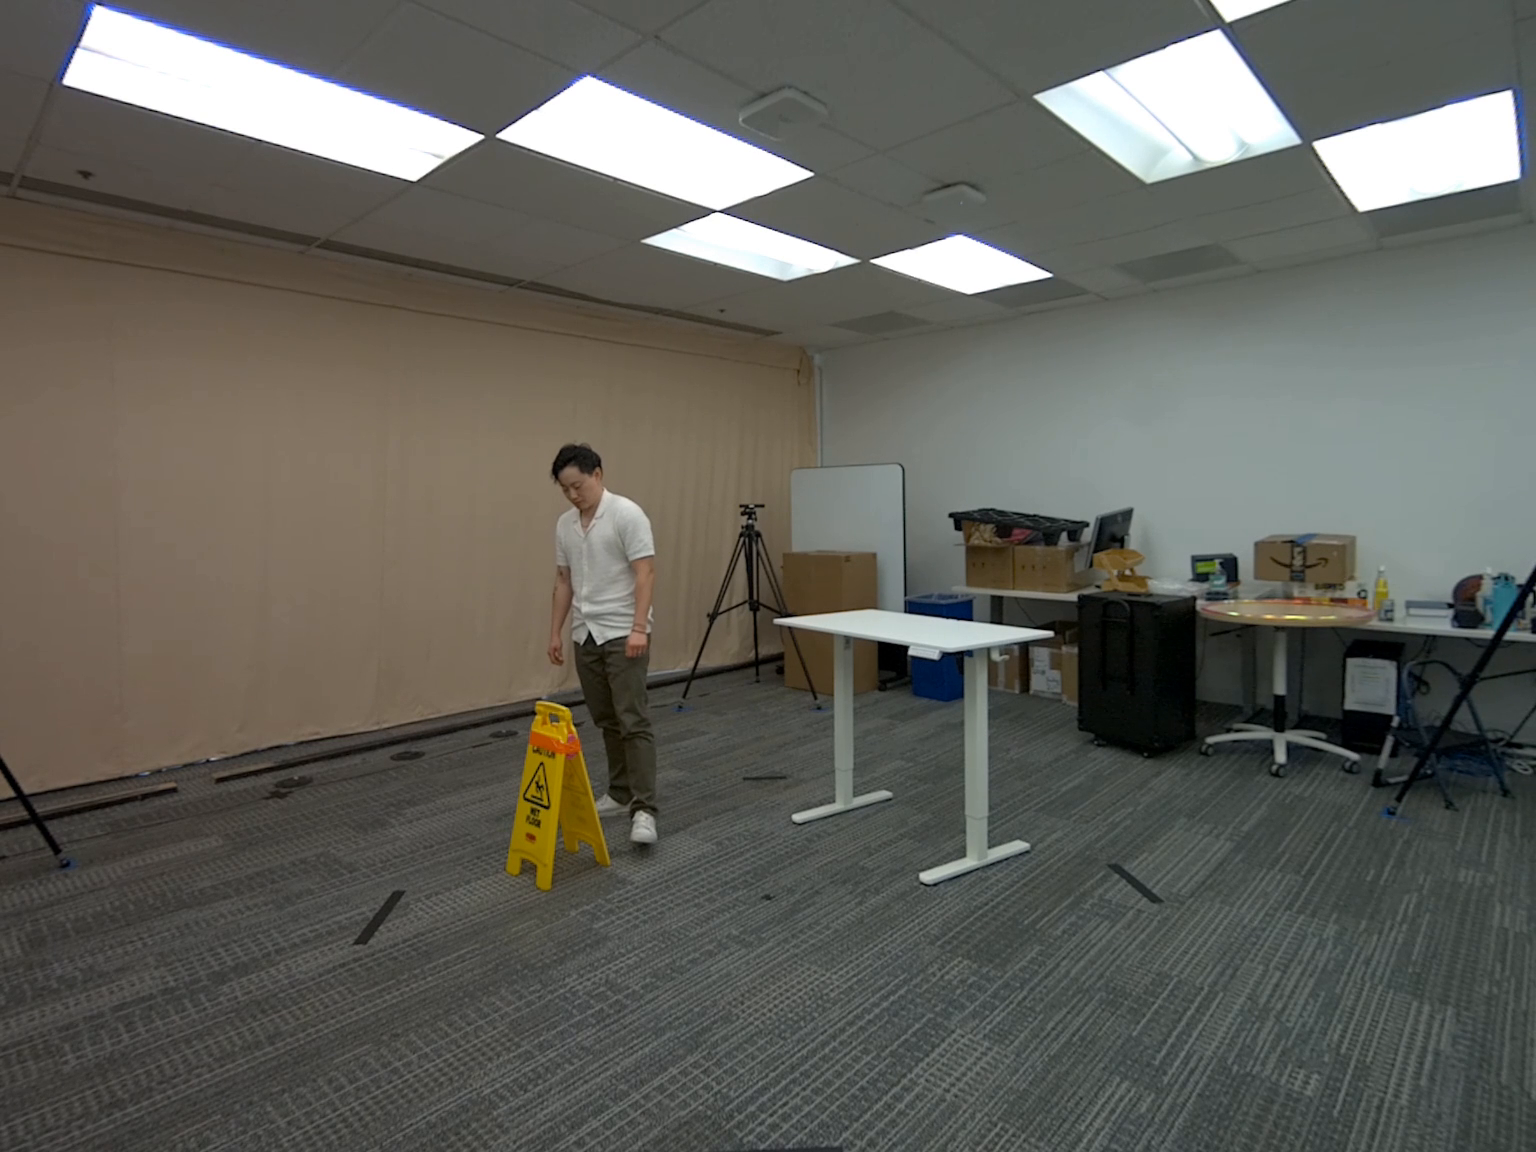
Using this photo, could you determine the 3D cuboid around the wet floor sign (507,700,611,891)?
[{"bbox_3d":[-0.815,0.811,3.255,0.291,0.645,0.281,1,4,42],"label":"wet floor sign"}]
